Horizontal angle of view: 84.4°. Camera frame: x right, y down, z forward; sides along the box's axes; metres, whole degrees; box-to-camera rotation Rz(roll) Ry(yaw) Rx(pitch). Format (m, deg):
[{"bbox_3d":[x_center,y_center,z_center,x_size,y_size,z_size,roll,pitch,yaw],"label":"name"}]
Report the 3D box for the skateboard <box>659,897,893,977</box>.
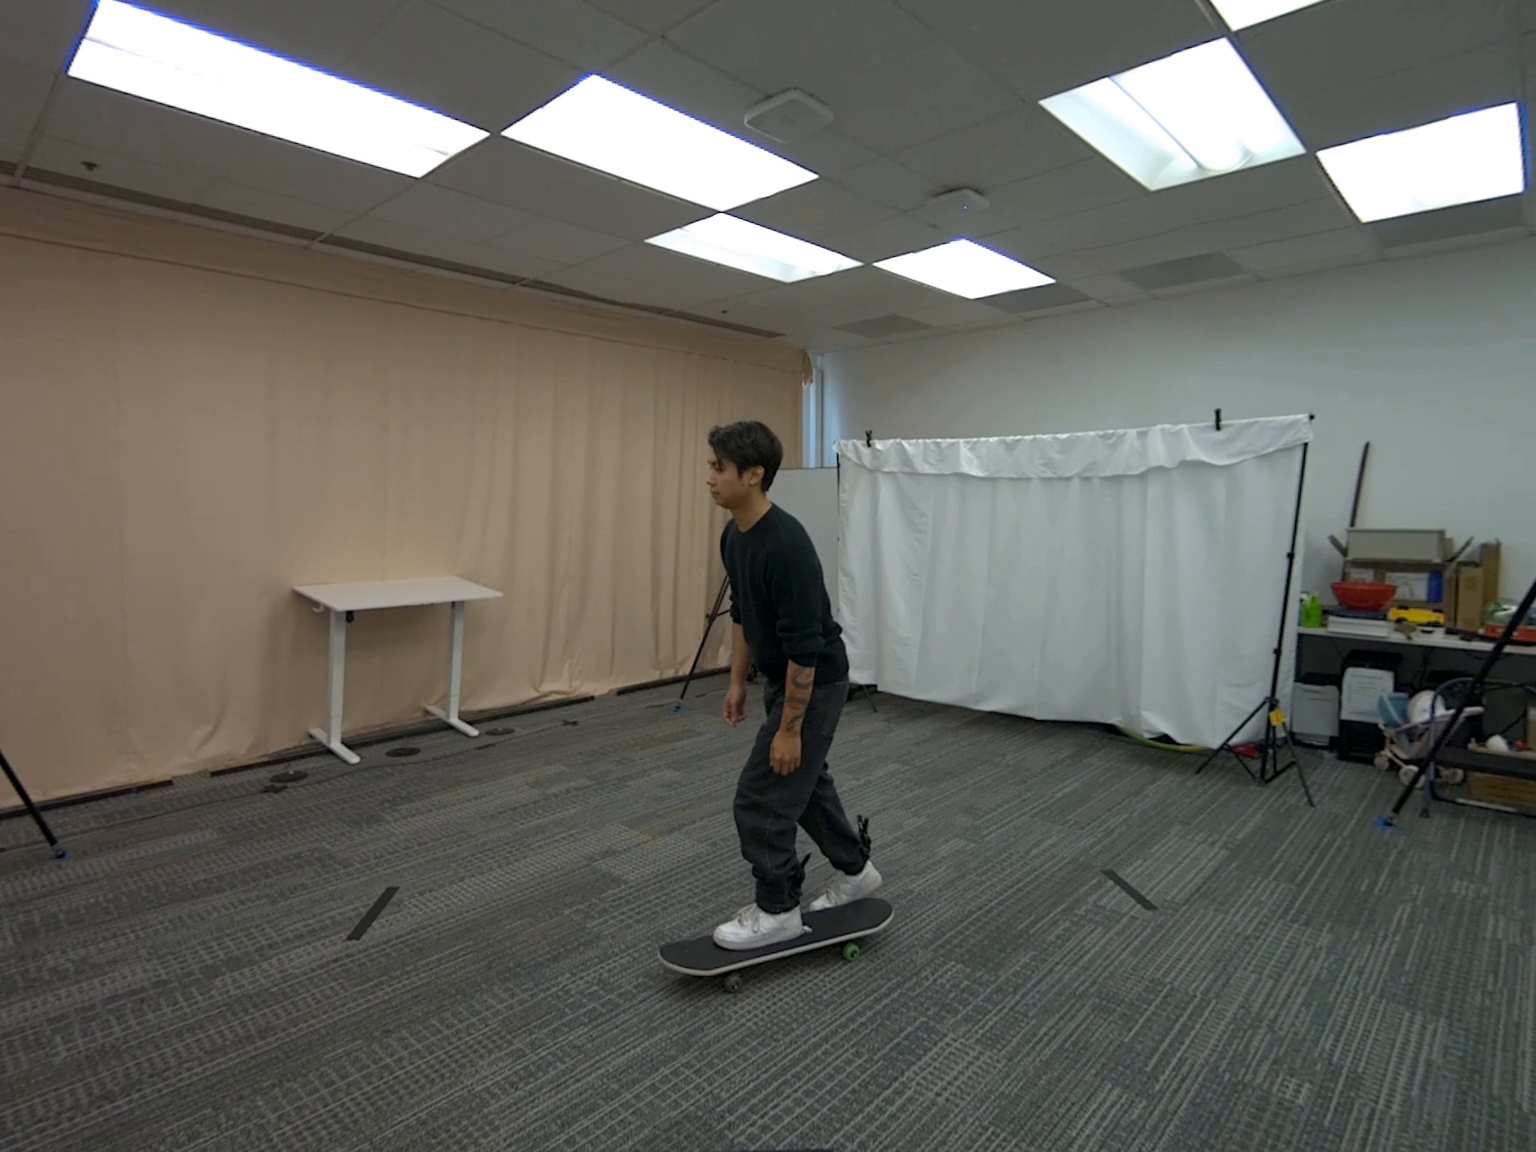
[{"bbox_3d":[0.046,1.126,2.559,0.767,0.110,0.198,-2,3,-24],"label":"skateboard"}]
